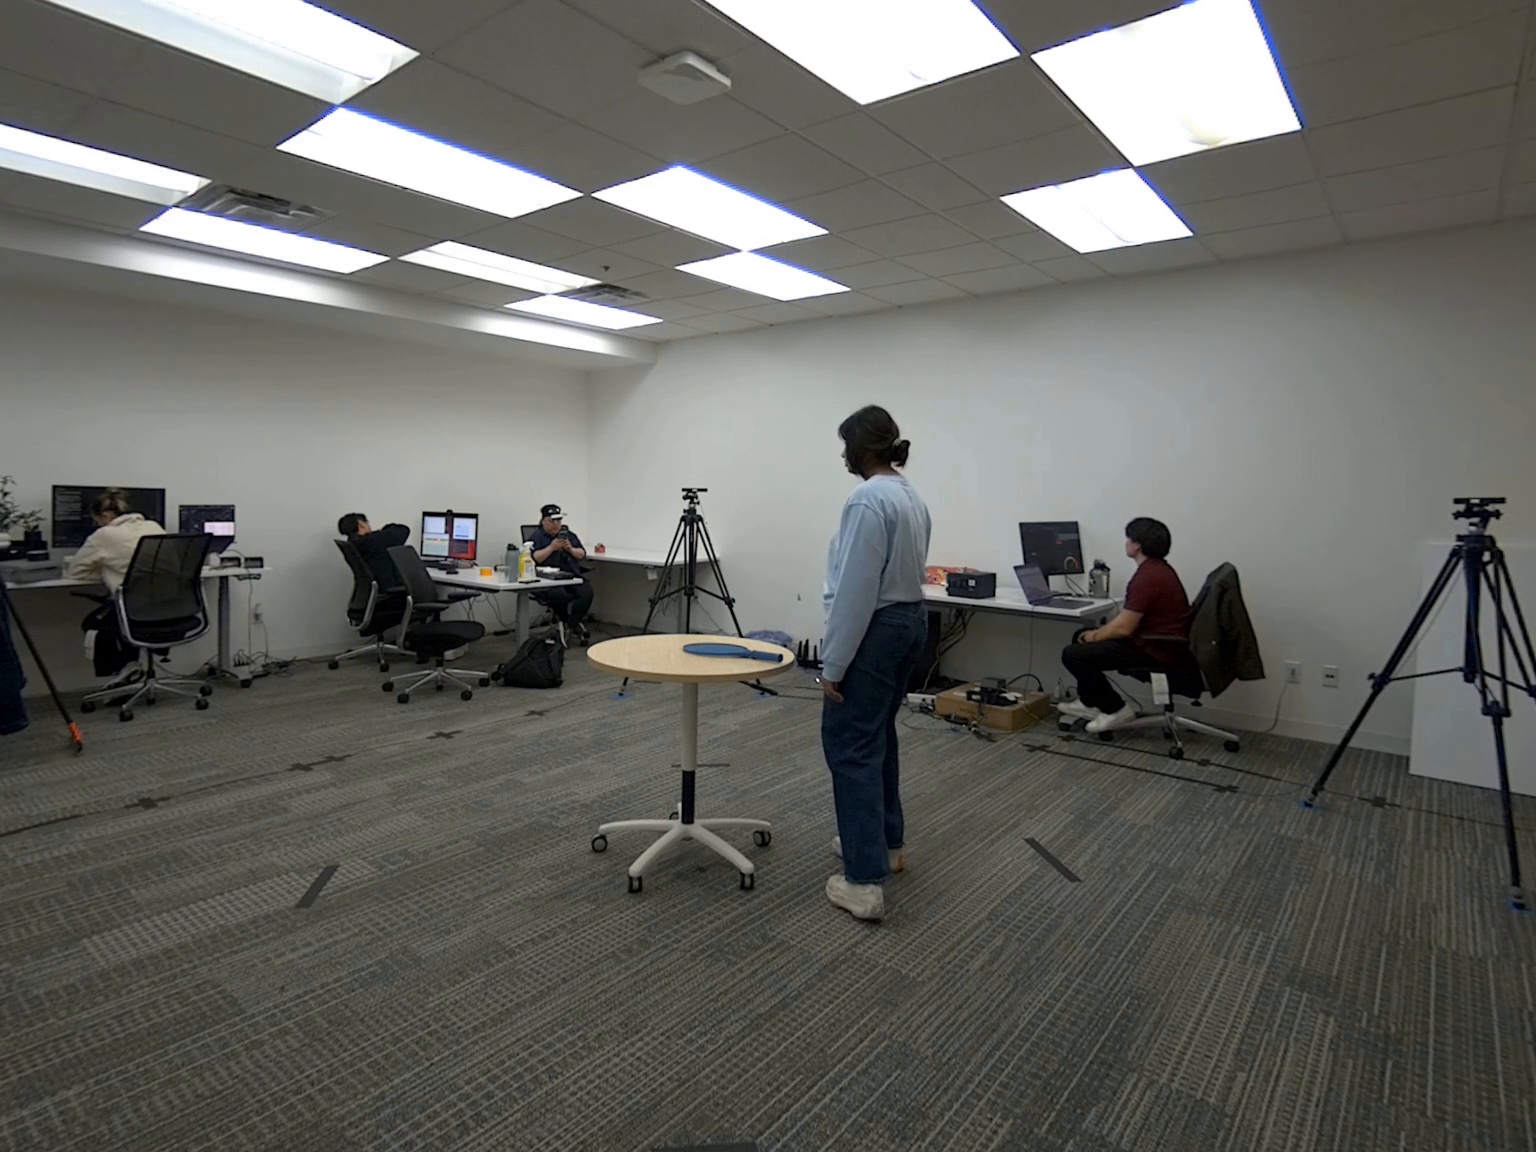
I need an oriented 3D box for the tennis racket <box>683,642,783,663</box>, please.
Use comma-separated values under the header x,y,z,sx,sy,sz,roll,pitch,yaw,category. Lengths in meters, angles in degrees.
x,y,z,sx,sy,sz,roll,pitch,yaw,category
-0.126,0.283,3.140,0.447,0.031,0.208,4,8,39,tennis racket
